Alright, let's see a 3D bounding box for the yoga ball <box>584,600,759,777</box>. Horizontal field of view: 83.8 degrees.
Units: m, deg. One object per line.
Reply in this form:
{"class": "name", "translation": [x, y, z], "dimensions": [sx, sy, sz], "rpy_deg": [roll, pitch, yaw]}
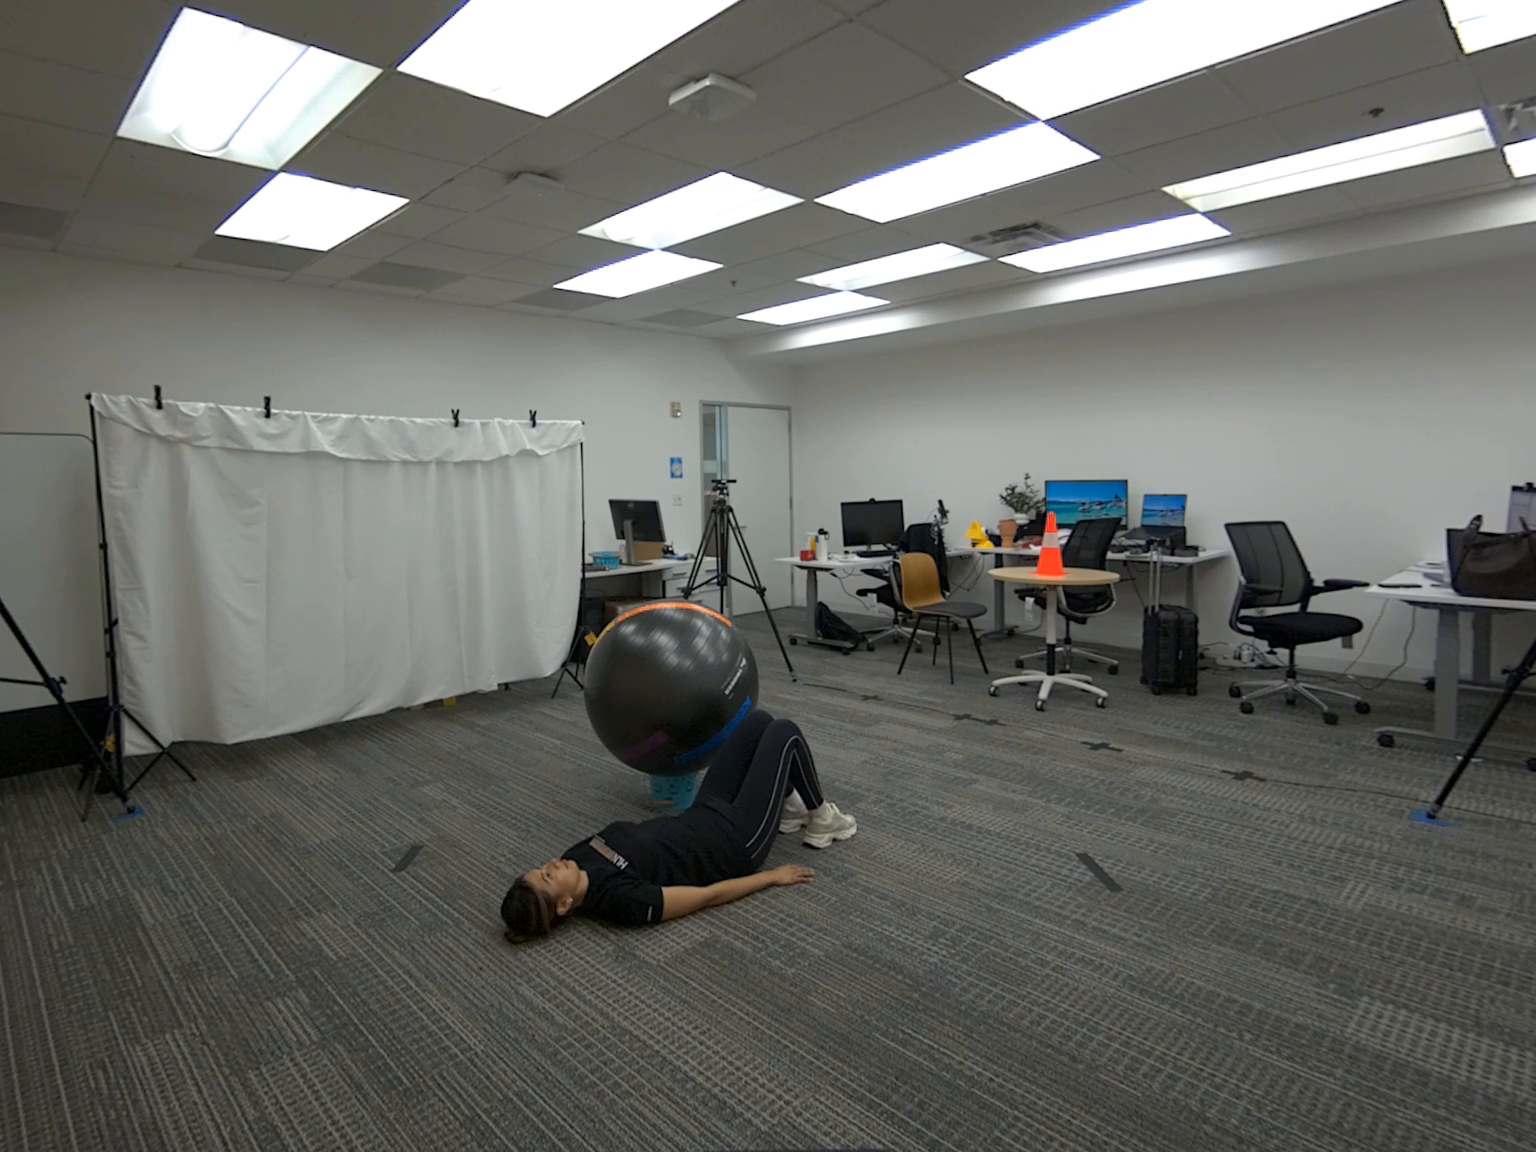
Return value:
{"class": "yoga ball", "translation": [-0.425, 0.479, 3.707], "dimensions": [0.757, 0.757, 0.759], "rpy_deg": [0, 1, -2]}
